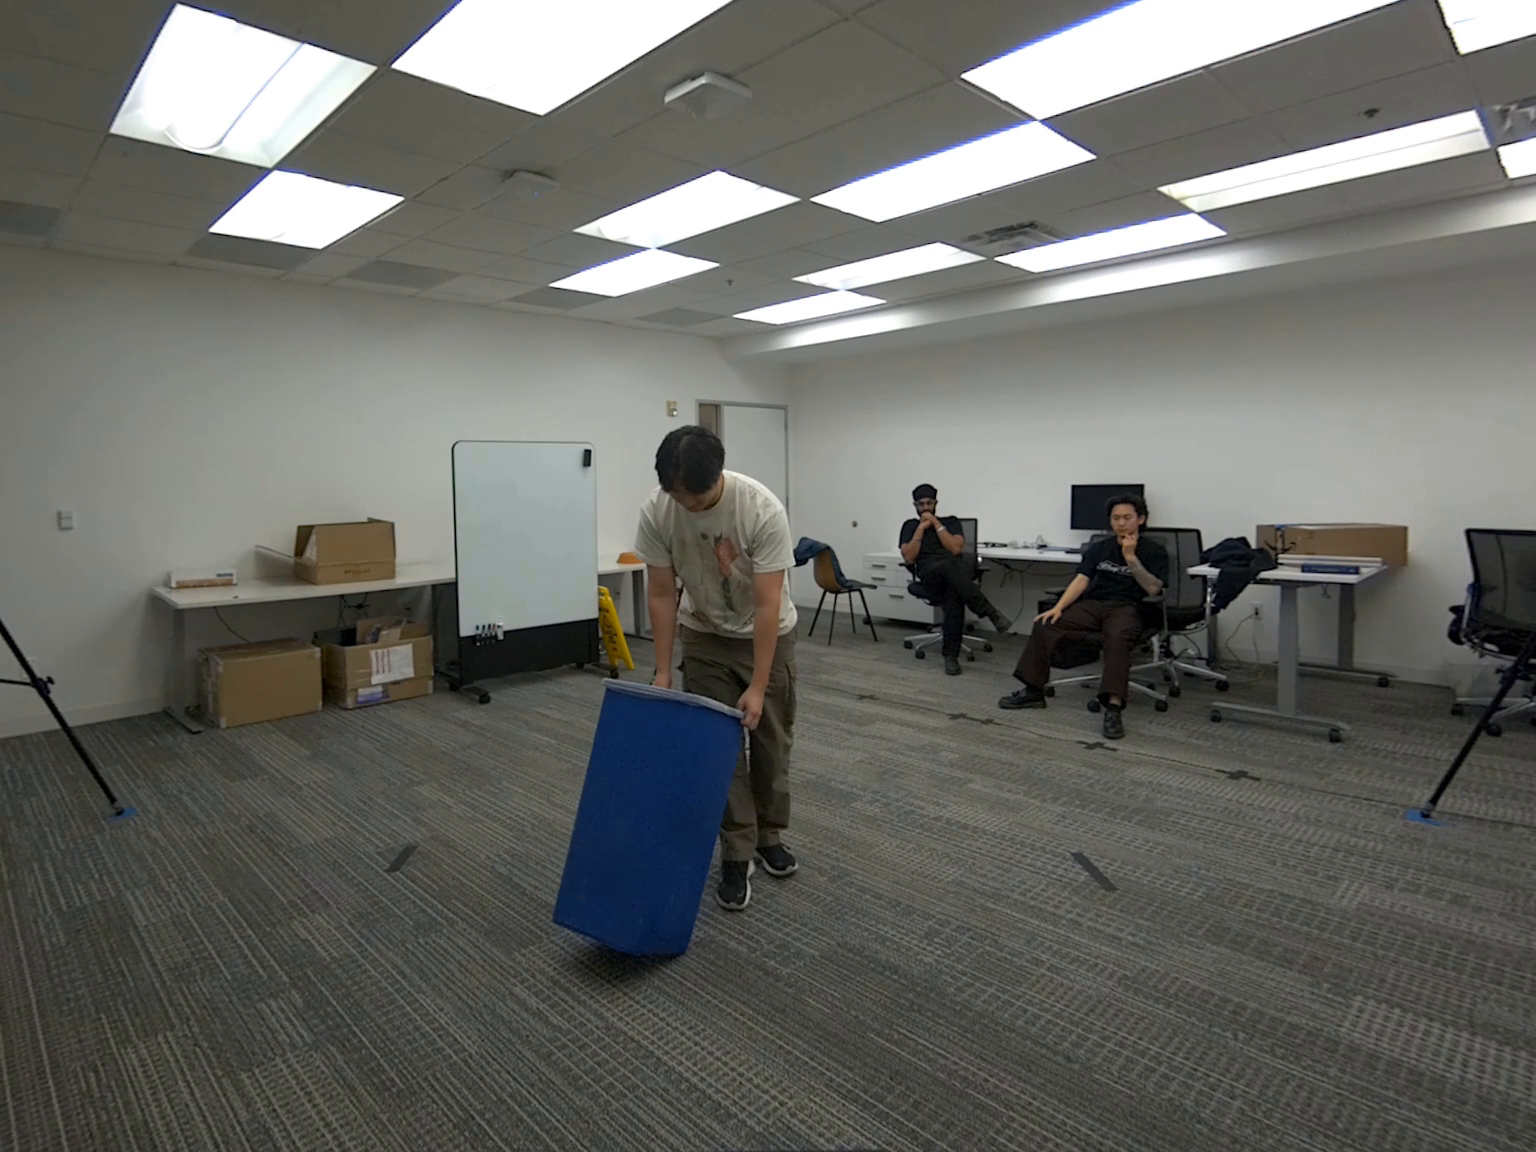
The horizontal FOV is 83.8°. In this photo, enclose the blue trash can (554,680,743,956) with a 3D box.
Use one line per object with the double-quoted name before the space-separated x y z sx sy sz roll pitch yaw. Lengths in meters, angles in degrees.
"blue trash can" -0.357 0.721 2.592 0.388 0.721 0.360 3 -19 32
